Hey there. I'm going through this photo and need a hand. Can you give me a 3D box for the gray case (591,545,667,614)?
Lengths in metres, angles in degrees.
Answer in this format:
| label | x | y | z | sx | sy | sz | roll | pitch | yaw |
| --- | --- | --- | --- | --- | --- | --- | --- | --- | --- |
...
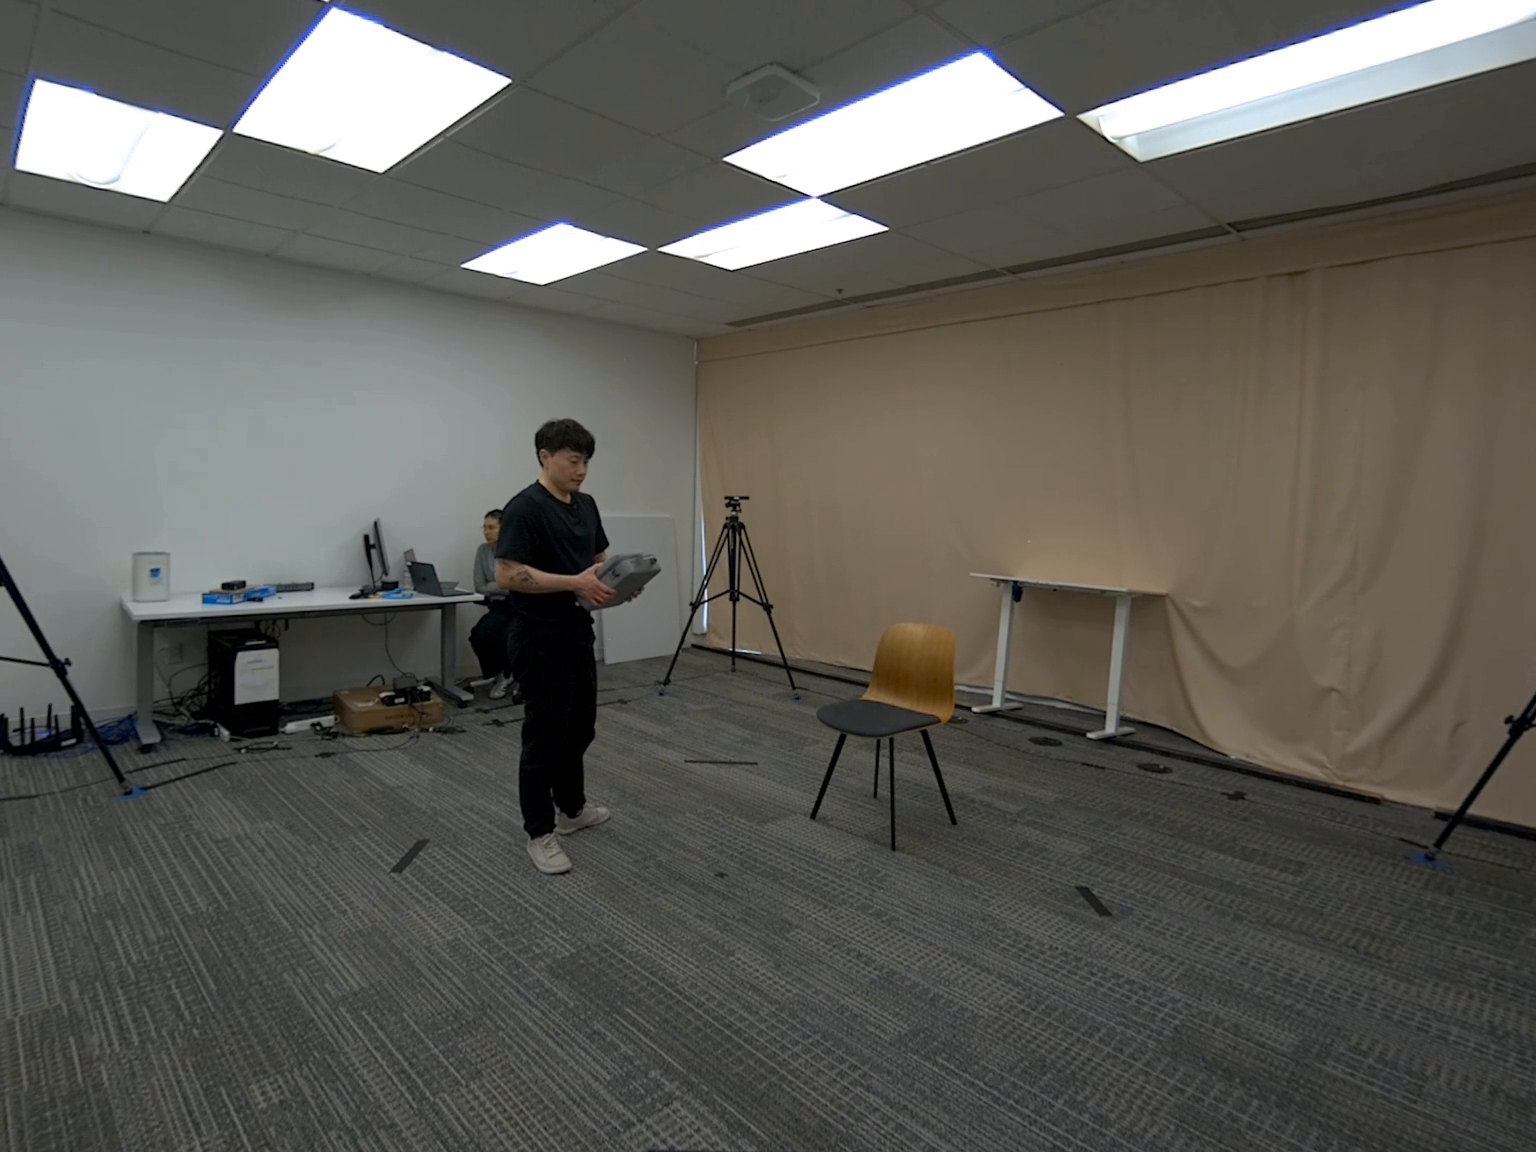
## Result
| label | x | y | z | sx | sy | sz | roll | pitch | yaw |
| --- | --- | --- | --- | --- | --- | --- | --- | --- | --- |
| gray case | -0.551 | 0.012 | 3.076 | 0.261 | 0.105 | 0.253 | -38 | -10 | 21 |
